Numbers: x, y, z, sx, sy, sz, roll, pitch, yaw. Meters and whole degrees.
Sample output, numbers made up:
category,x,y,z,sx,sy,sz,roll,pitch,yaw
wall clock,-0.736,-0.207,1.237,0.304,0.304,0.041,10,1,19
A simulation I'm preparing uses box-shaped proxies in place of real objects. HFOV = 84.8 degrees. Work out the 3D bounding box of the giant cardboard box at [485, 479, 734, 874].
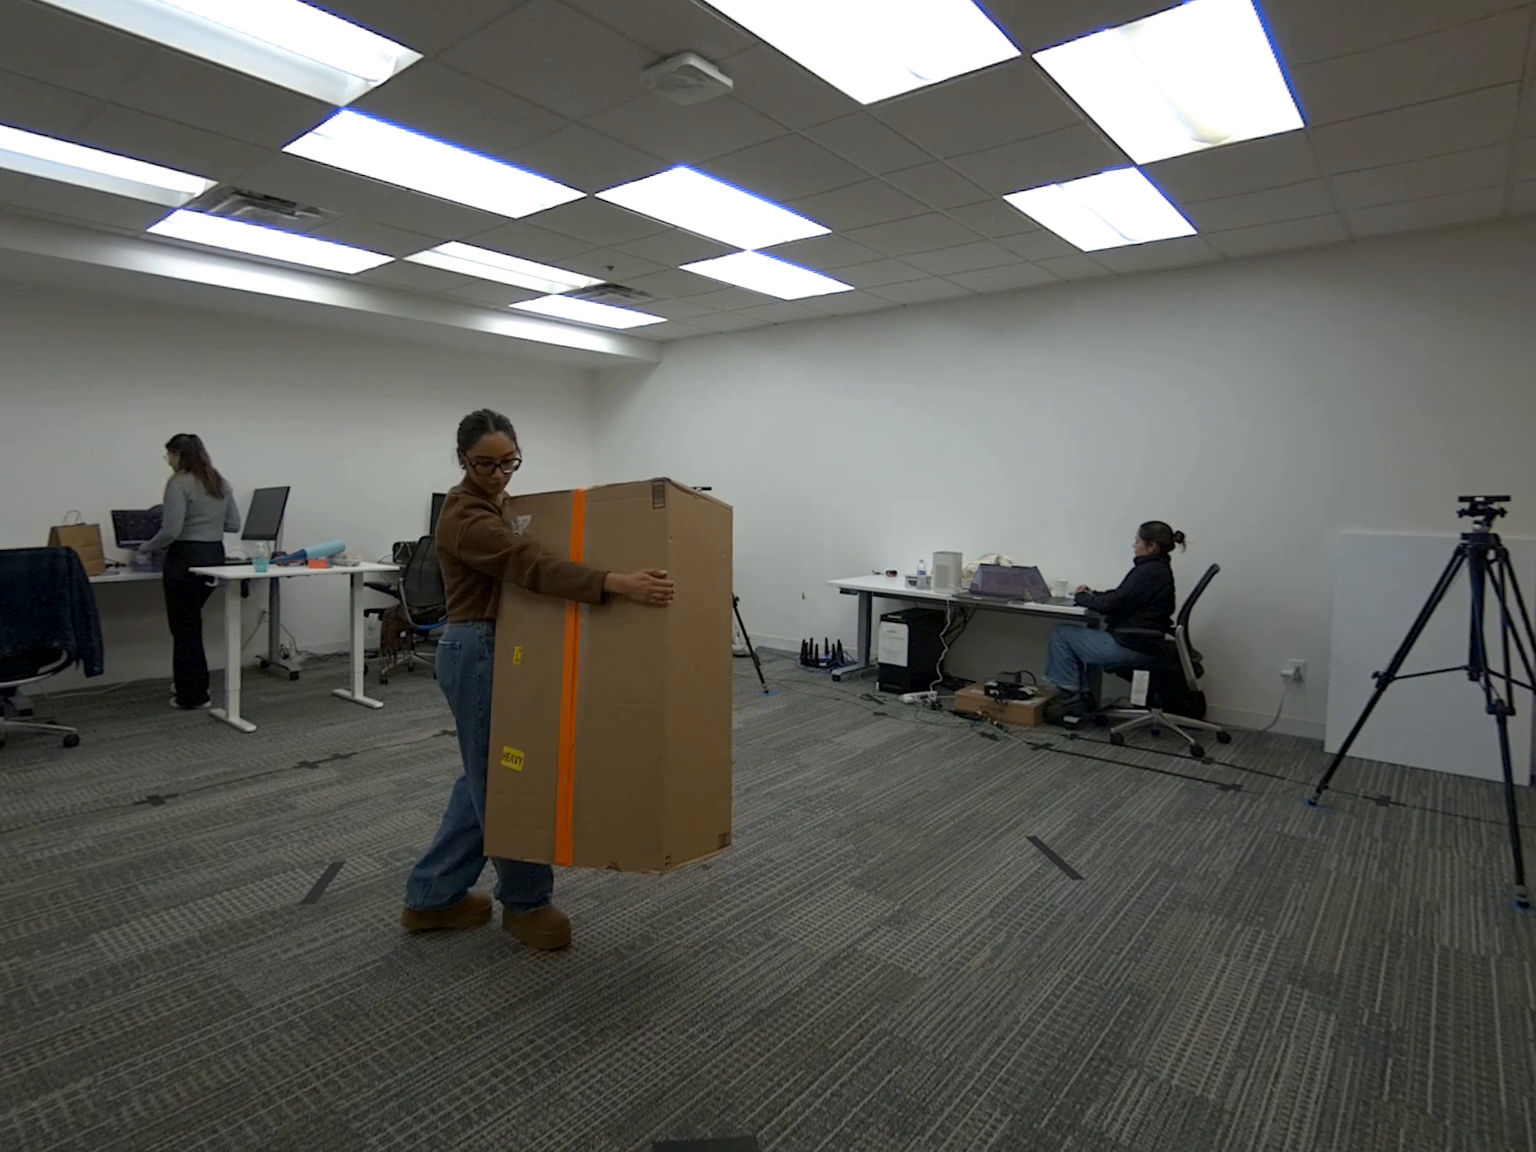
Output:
category,x,y,z,sx,sy,sz,roll,pitch,yaw
giant cardboard box,-0.463,0.287,2.507,0.591,1.036,0.412,-5,-11,25
